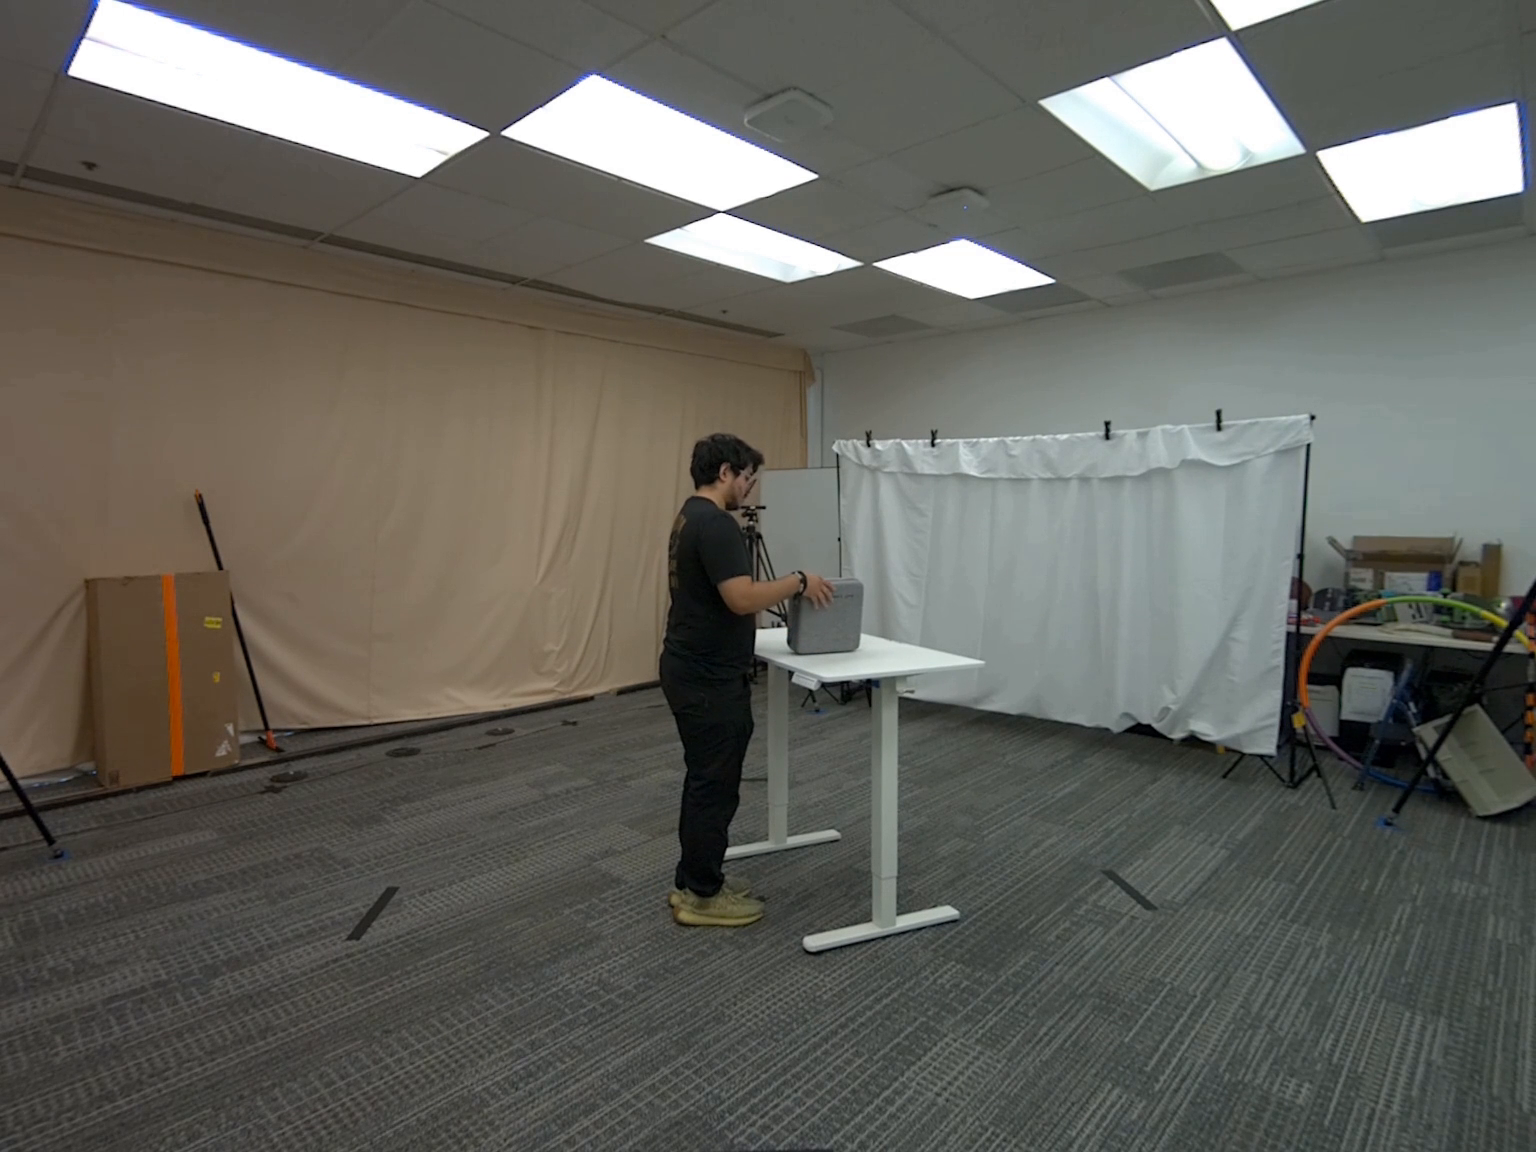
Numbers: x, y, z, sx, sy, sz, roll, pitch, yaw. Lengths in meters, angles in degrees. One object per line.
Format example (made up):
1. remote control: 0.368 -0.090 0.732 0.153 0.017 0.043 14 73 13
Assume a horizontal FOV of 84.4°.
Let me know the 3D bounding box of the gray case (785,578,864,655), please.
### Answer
1. gray case: 0.201 0.134 2.897 0.252 0.260 0.106 0 5 -19
